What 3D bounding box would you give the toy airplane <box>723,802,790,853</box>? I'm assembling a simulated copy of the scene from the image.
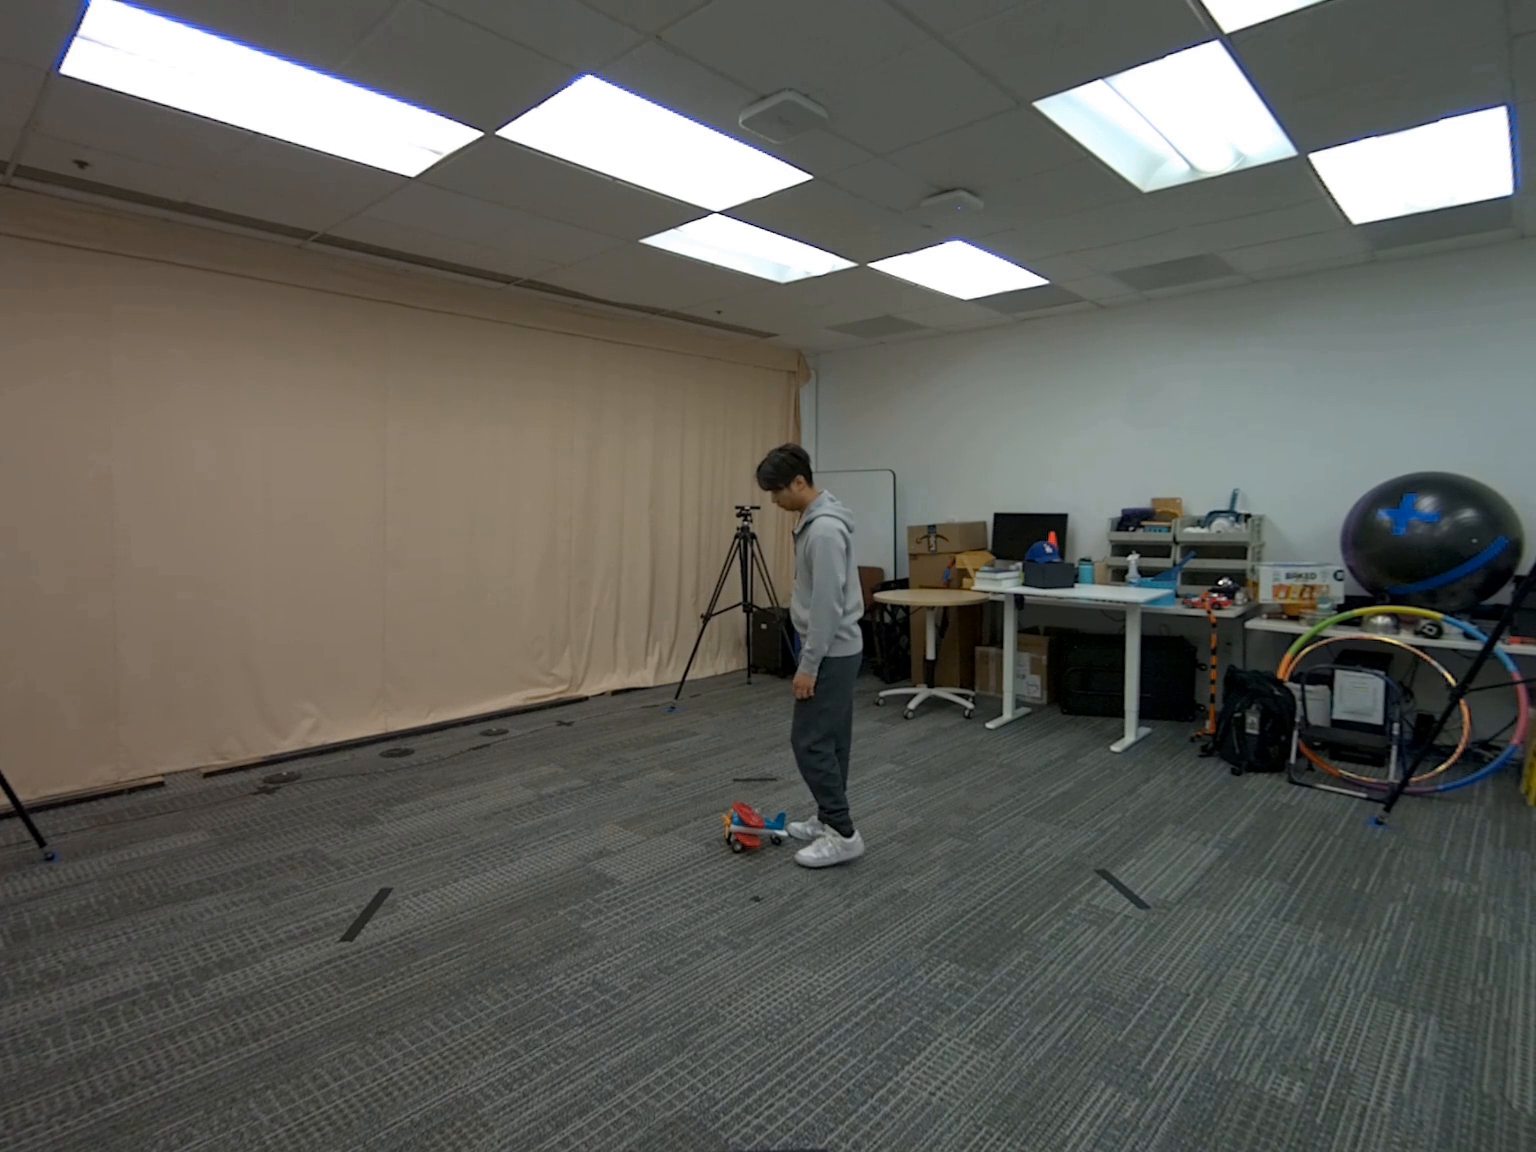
[{"bbox_3d":[-0.056,1.034,3.461,0.251,0.156,0.259,-5,7,-44],"label":"toy airplane"}]
